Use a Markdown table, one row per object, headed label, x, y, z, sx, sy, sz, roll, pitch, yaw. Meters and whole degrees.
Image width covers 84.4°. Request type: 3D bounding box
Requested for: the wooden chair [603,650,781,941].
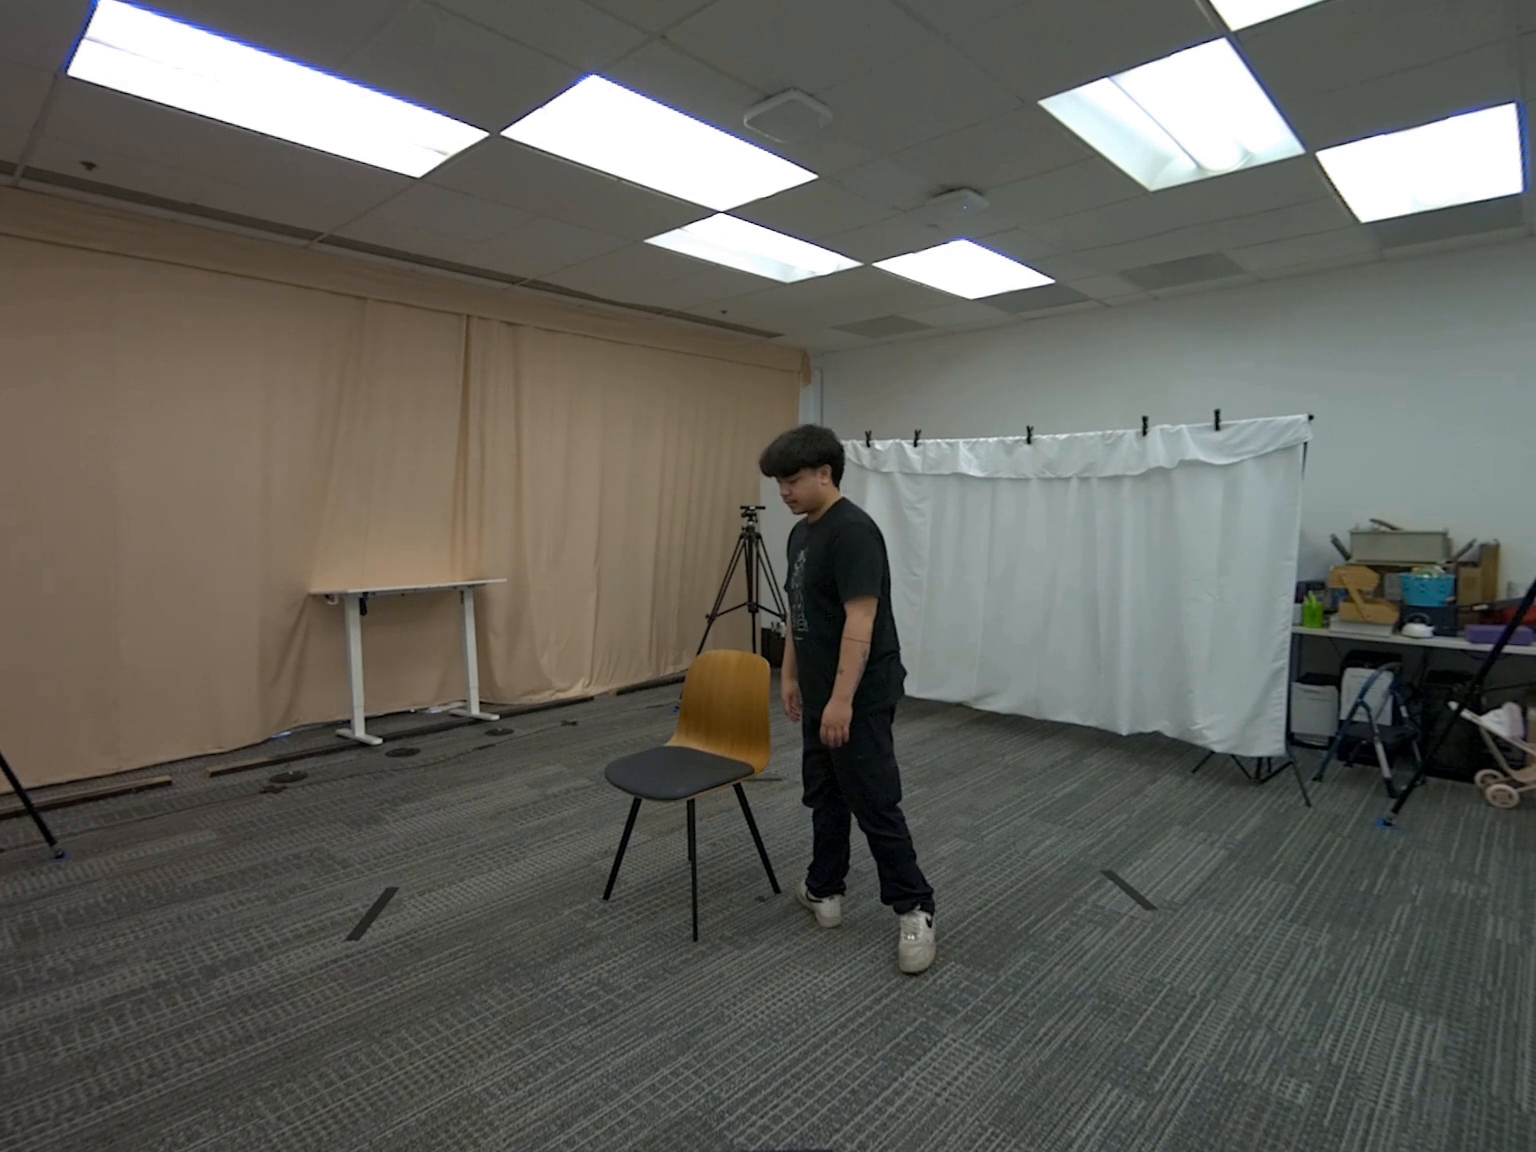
| label | x | y | z | sx | sy | sz | roll | pitch | yaw |
| --- | --- | --- | --- | --- | --- | --- | --- | --- | --- |
| wooden chair | -0.273 | 0.720 | 2.975 | 0.494 | 0.877 | 0.506 | 3 | 0 | 40 |
